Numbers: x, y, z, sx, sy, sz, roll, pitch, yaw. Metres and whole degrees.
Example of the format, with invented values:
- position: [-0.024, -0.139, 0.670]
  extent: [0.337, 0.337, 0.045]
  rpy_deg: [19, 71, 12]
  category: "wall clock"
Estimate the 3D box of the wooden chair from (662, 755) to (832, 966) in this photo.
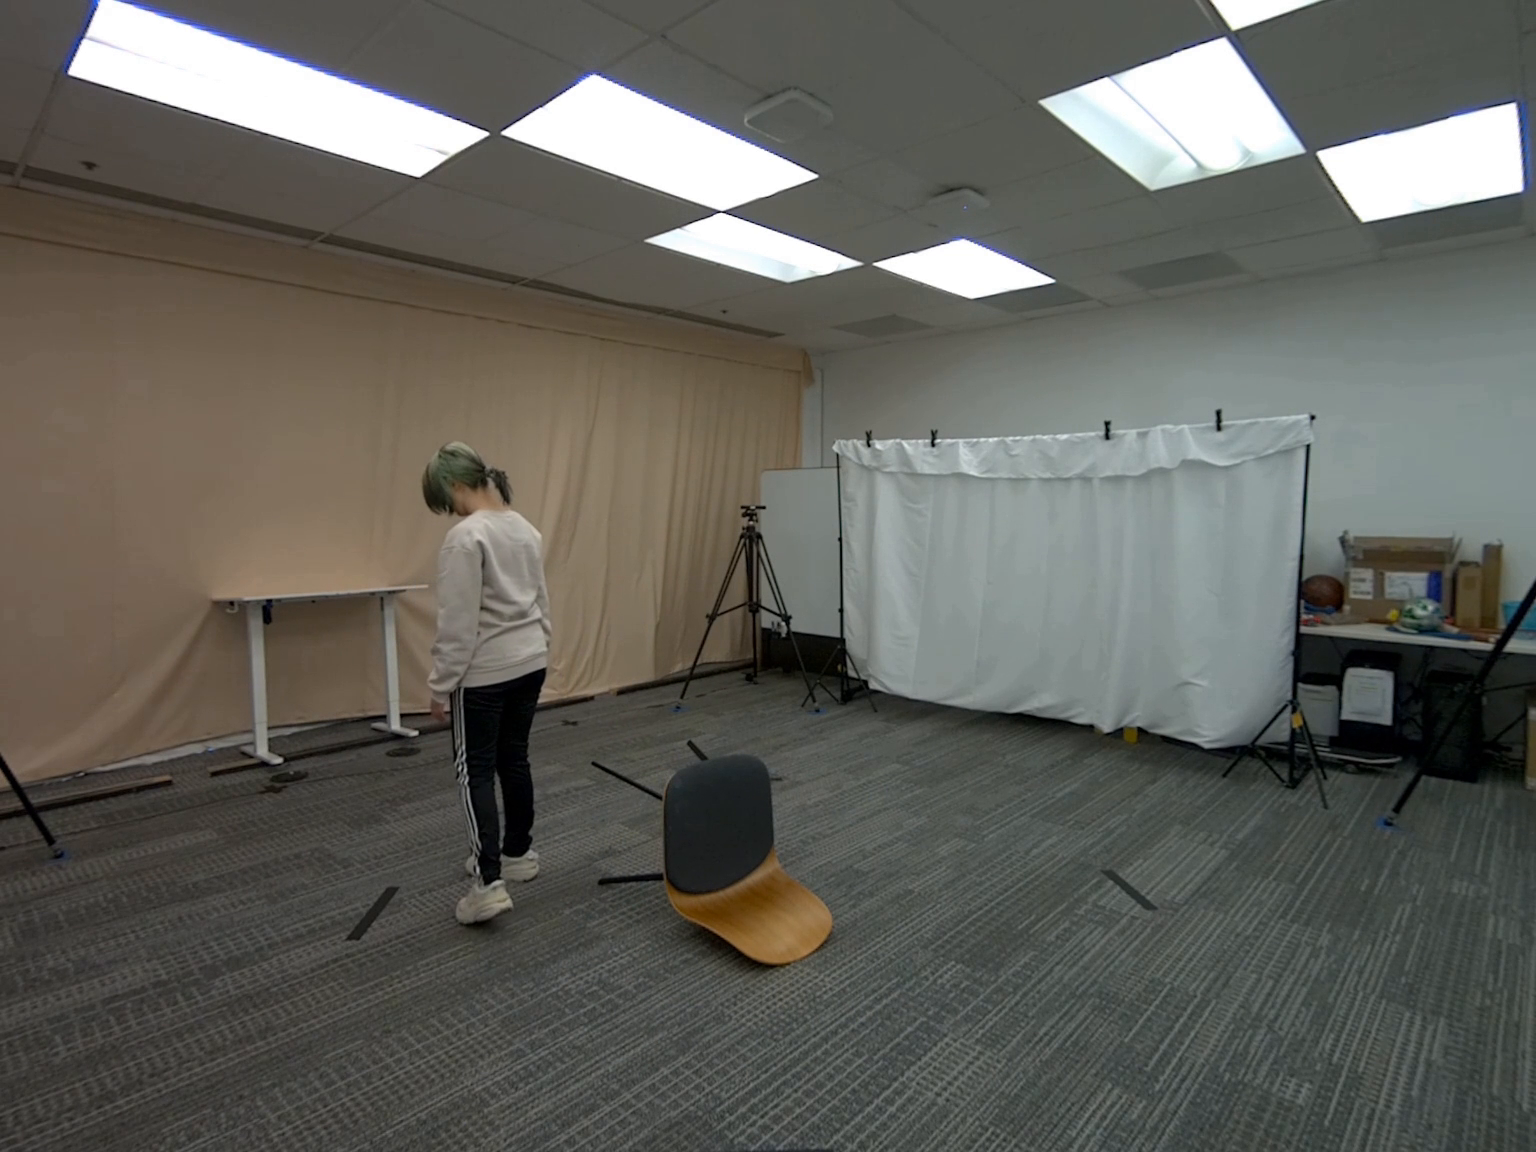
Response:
- position: [-0.190, 0.895, 2.907]
  extent: [0.464, 0.521, 0.907]
  rpy_deg: [-4, 7, -40]
  category: "wooden chair"
